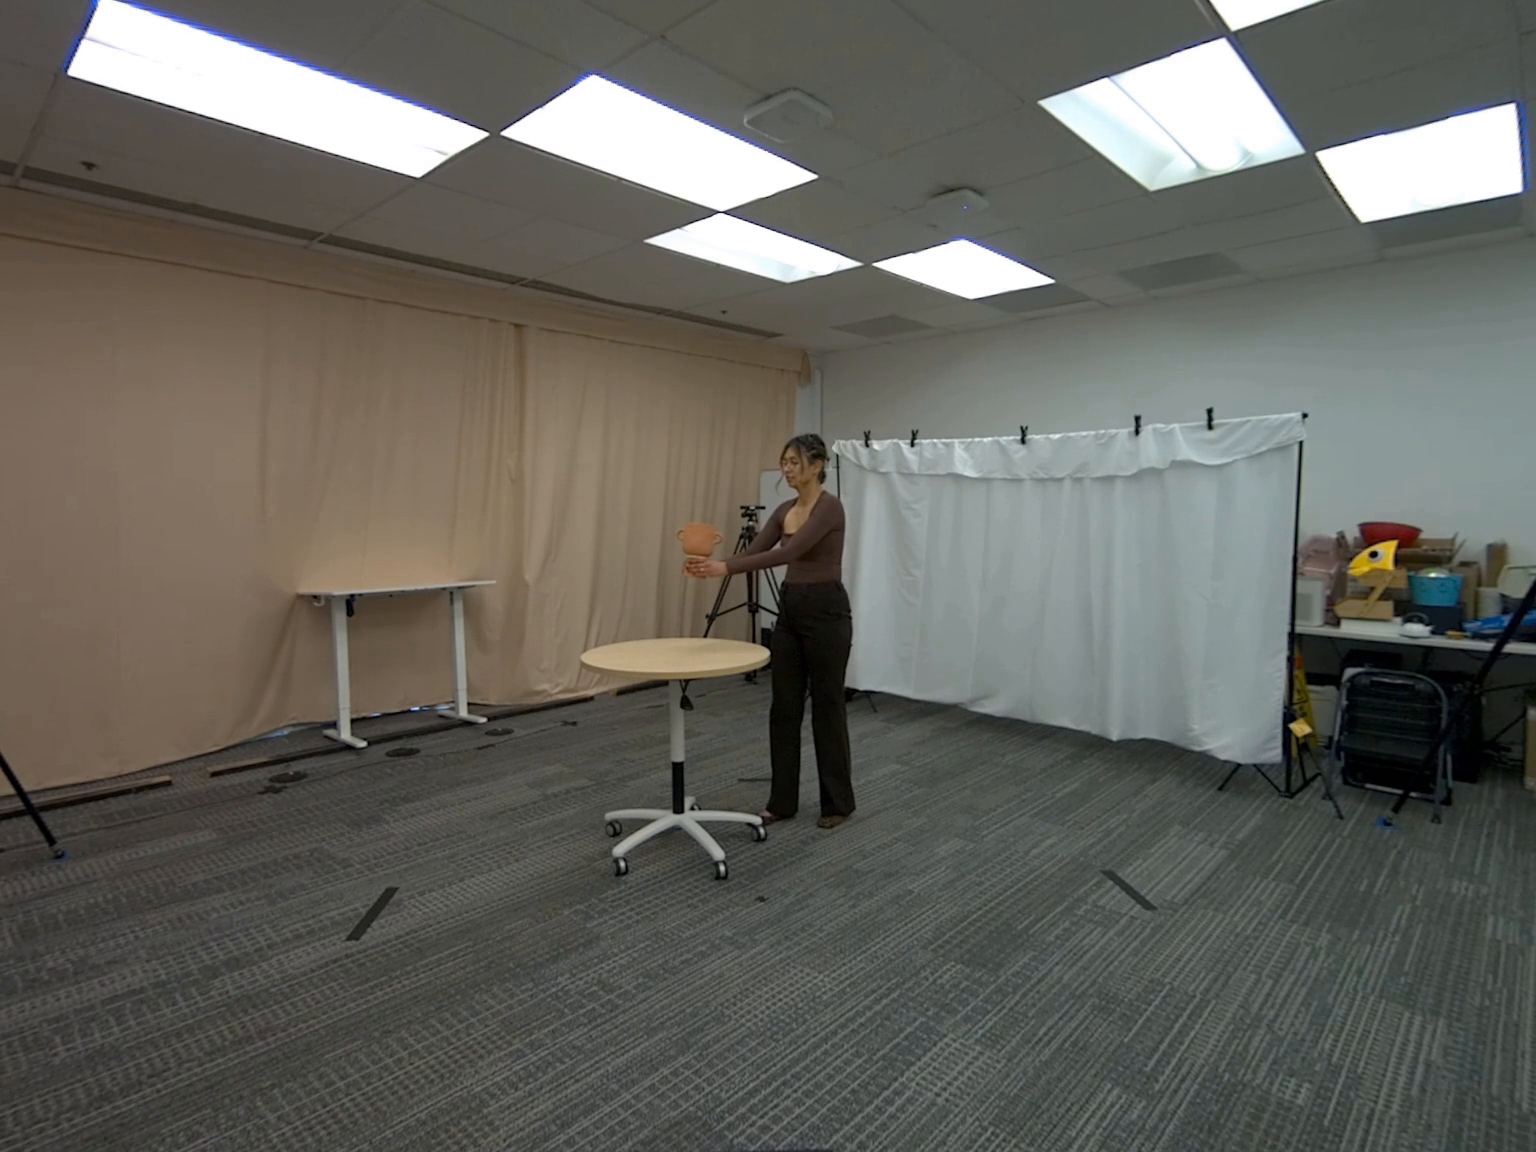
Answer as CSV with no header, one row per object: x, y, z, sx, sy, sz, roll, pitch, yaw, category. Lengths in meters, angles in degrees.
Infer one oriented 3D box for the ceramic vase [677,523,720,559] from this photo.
-0.289,-0.102,3.475,0.130,0.220,0.164,7,-1,-40,ceramic vase
